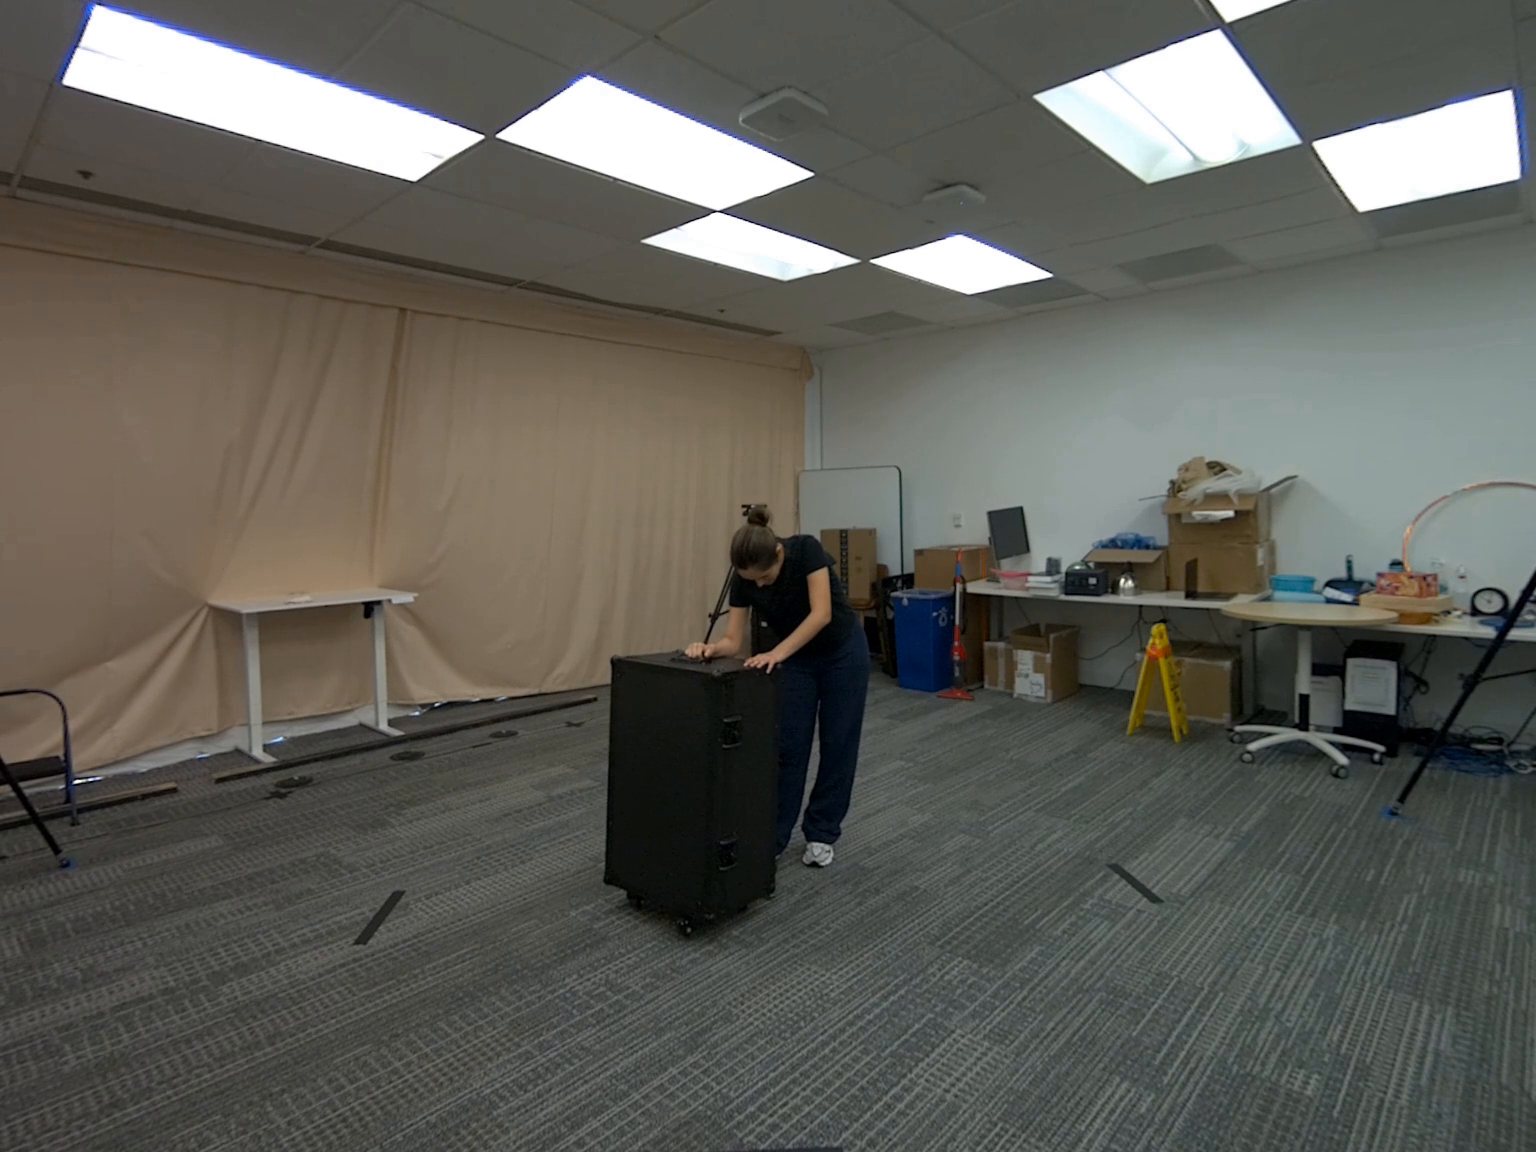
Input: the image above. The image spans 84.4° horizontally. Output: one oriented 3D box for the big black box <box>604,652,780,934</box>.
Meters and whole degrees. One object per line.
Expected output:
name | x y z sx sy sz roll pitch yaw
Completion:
big black box | -0.252 0.722 2.897 0.538 0.861 0.384 3 0 38
